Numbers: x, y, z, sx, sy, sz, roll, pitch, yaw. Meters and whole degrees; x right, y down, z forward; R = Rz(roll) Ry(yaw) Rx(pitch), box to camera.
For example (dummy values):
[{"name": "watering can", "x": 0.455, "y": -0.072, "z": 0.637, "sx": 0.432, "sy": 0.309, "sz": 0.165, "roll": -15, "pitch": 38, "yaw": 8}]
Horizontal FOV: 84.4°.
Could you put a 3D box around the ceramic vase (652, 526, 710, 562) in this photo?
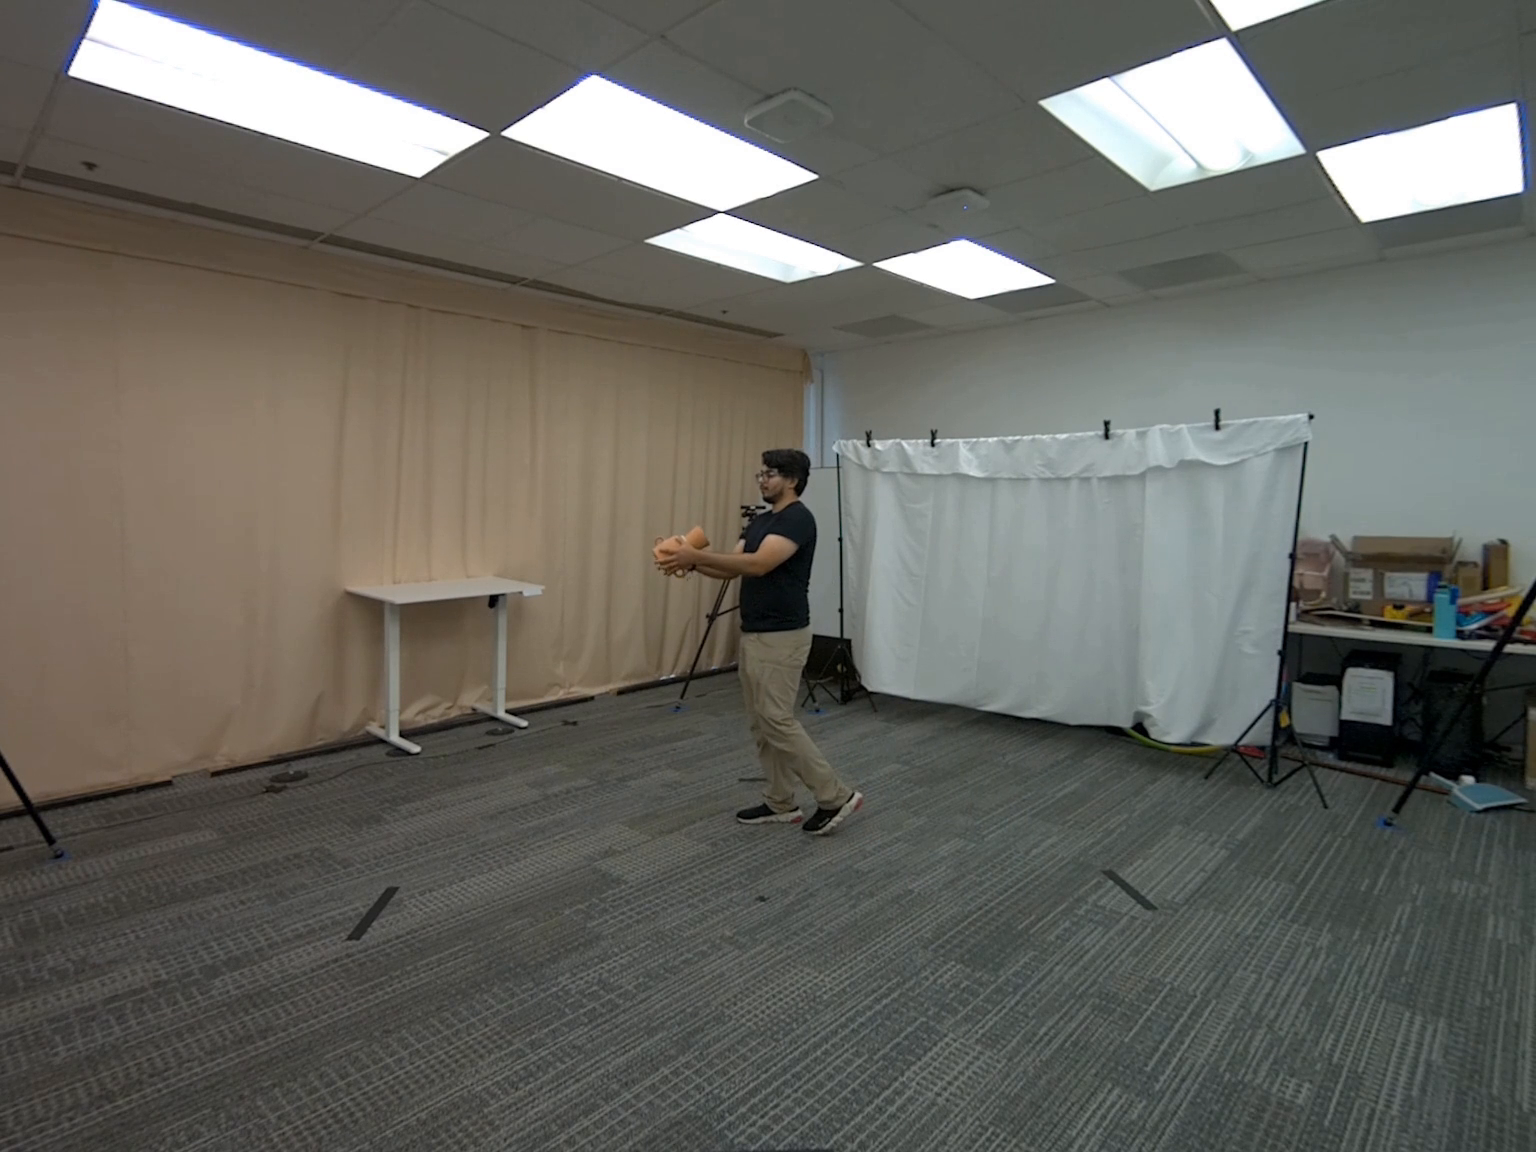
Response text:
[{"name": "ceramic vase", "x": -0.358, "y": -0.111, "z": 3.530, "sx": 0.219, "sy": 0.139, "sz": 0.154, "roll": -32, "pitch": -38, "yaw": -6}]
